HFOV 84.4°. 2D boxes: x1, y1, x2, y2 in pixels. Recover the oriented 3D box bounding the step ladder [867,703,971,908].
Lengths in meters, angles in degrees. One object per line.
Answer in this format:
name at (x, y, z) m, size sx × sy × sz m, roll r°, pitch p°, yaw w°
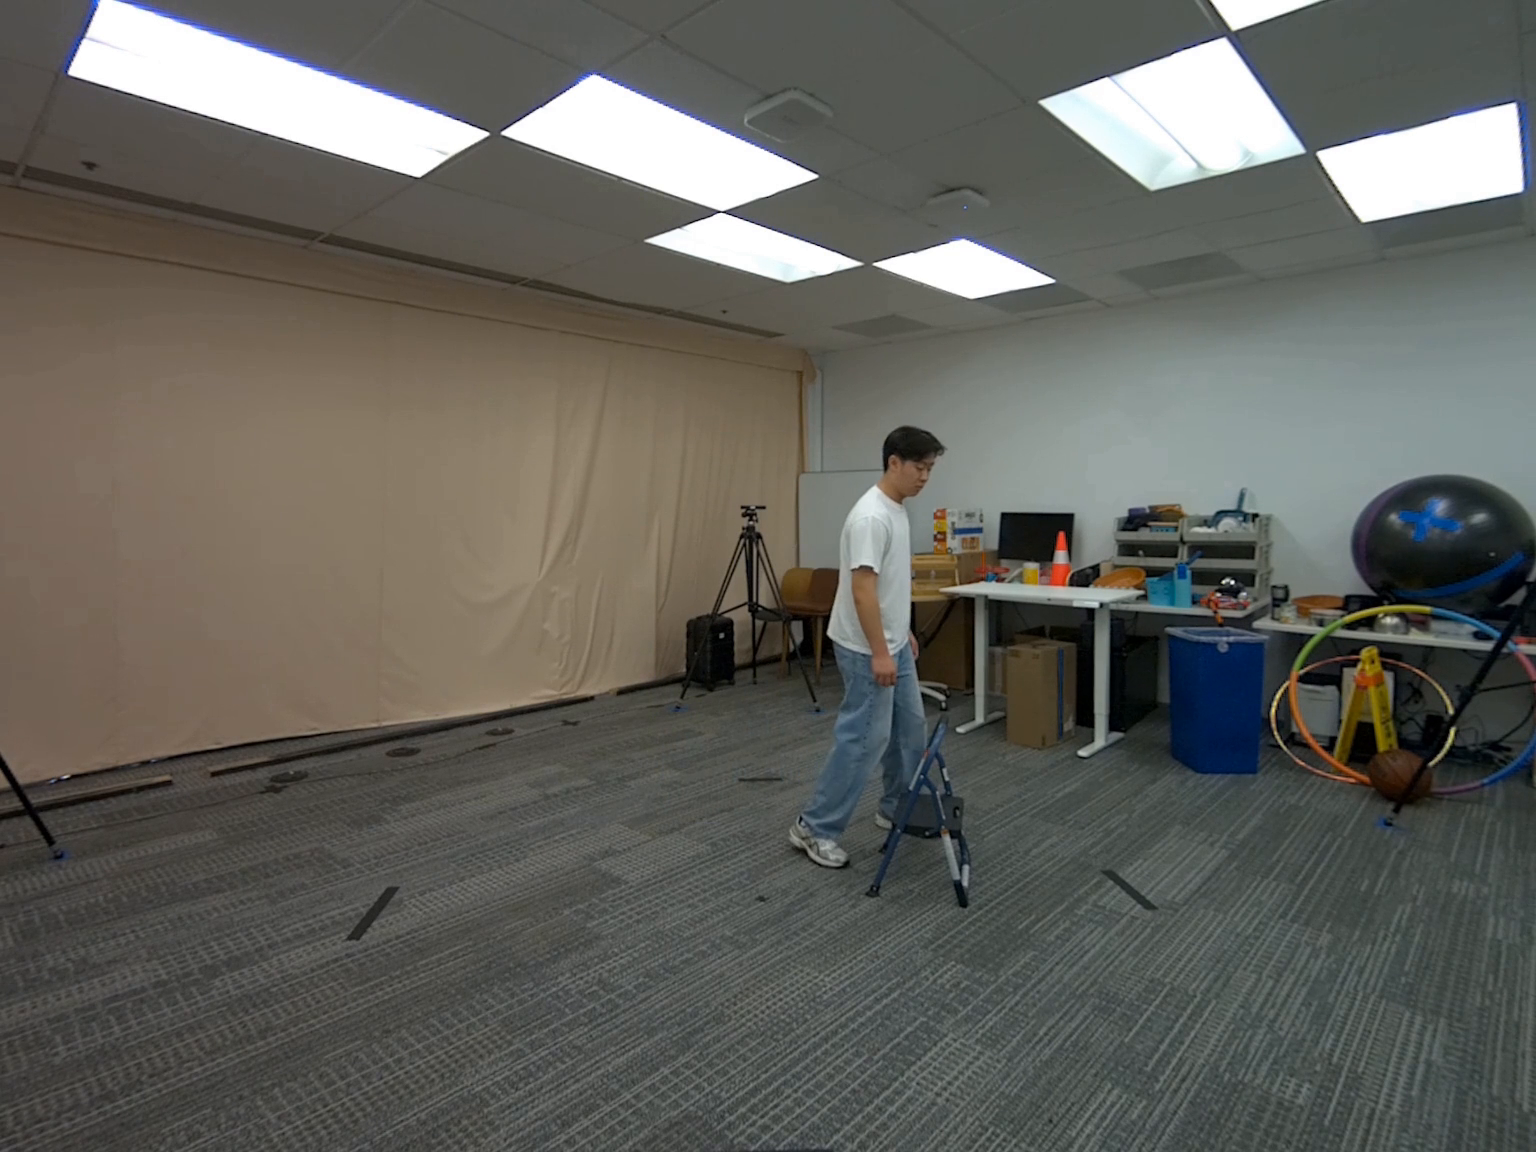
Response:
step ladder at (0.574, 0.825, 3.133) m, size 0.355 × 0.605 × 0.424 m, roll 1°, pitch 3°, yaw 16°
